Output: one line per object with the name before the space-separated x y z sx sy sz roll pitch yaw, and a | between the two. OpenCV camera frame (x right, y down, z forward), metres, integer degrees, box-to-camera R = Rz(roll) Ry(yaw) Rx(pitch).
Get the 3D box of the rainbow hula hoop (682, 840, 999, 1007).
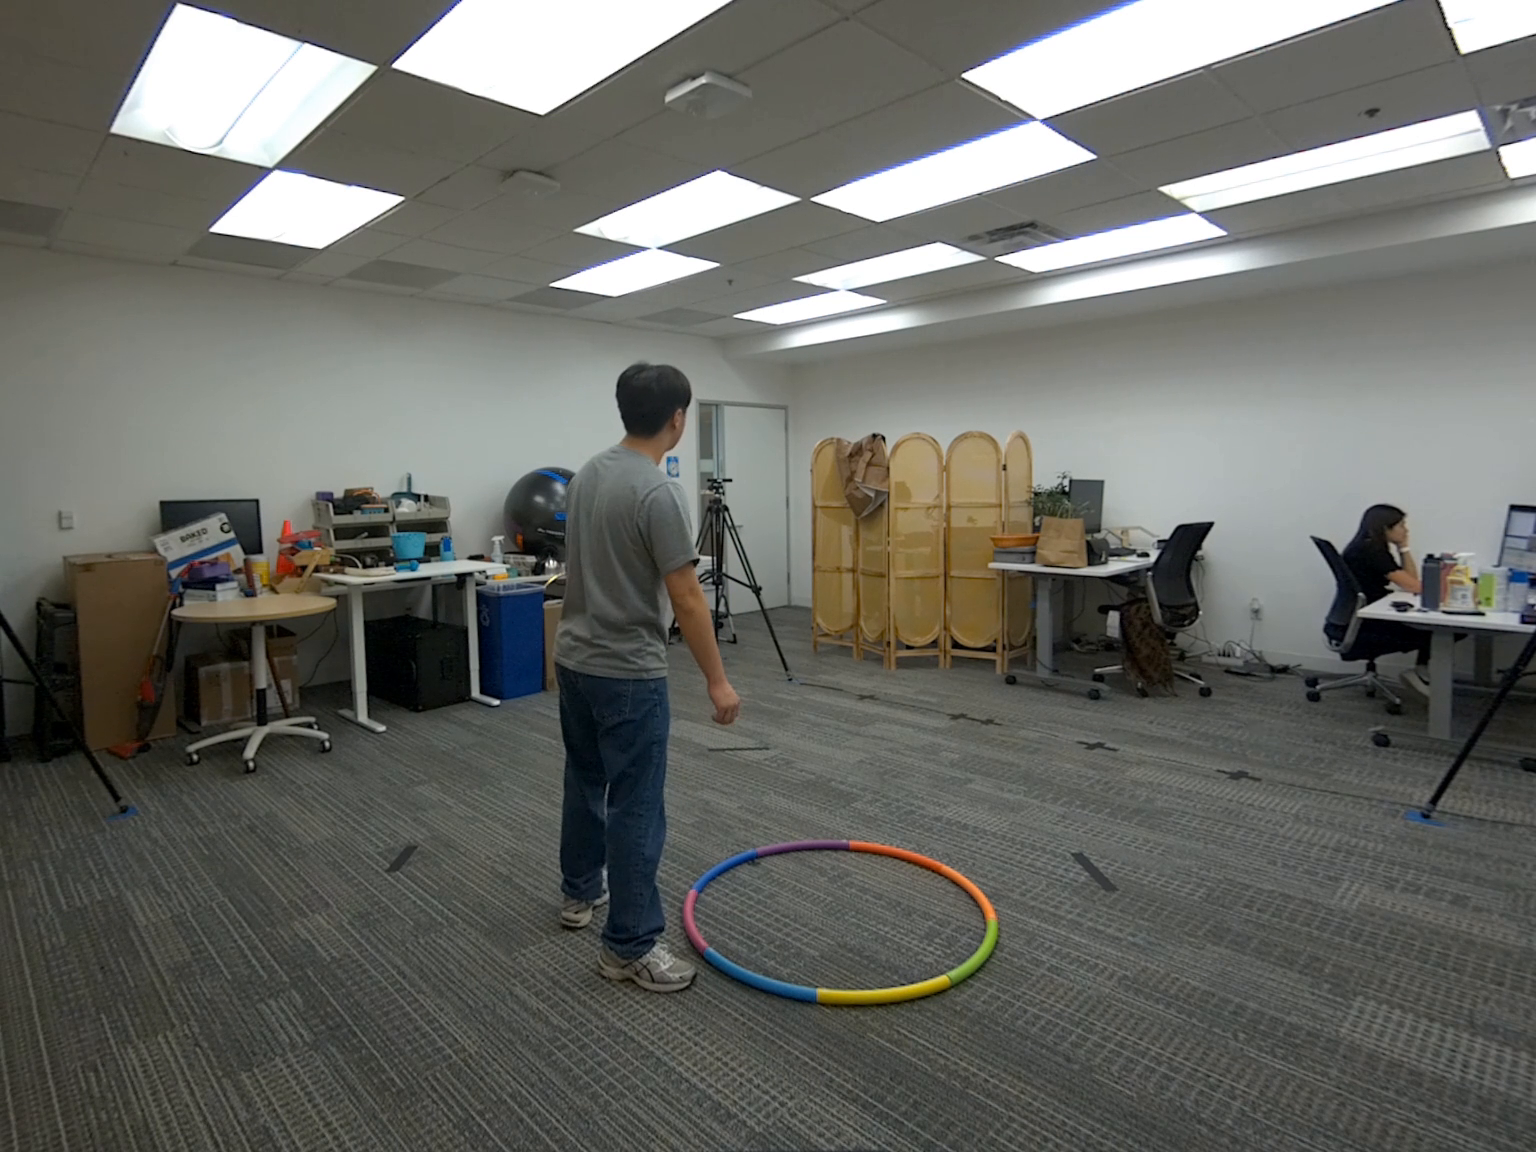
rainbow hula hoop | 0.217 1.055 2.743 0.978 0.035 0.984 -2 7 -2
